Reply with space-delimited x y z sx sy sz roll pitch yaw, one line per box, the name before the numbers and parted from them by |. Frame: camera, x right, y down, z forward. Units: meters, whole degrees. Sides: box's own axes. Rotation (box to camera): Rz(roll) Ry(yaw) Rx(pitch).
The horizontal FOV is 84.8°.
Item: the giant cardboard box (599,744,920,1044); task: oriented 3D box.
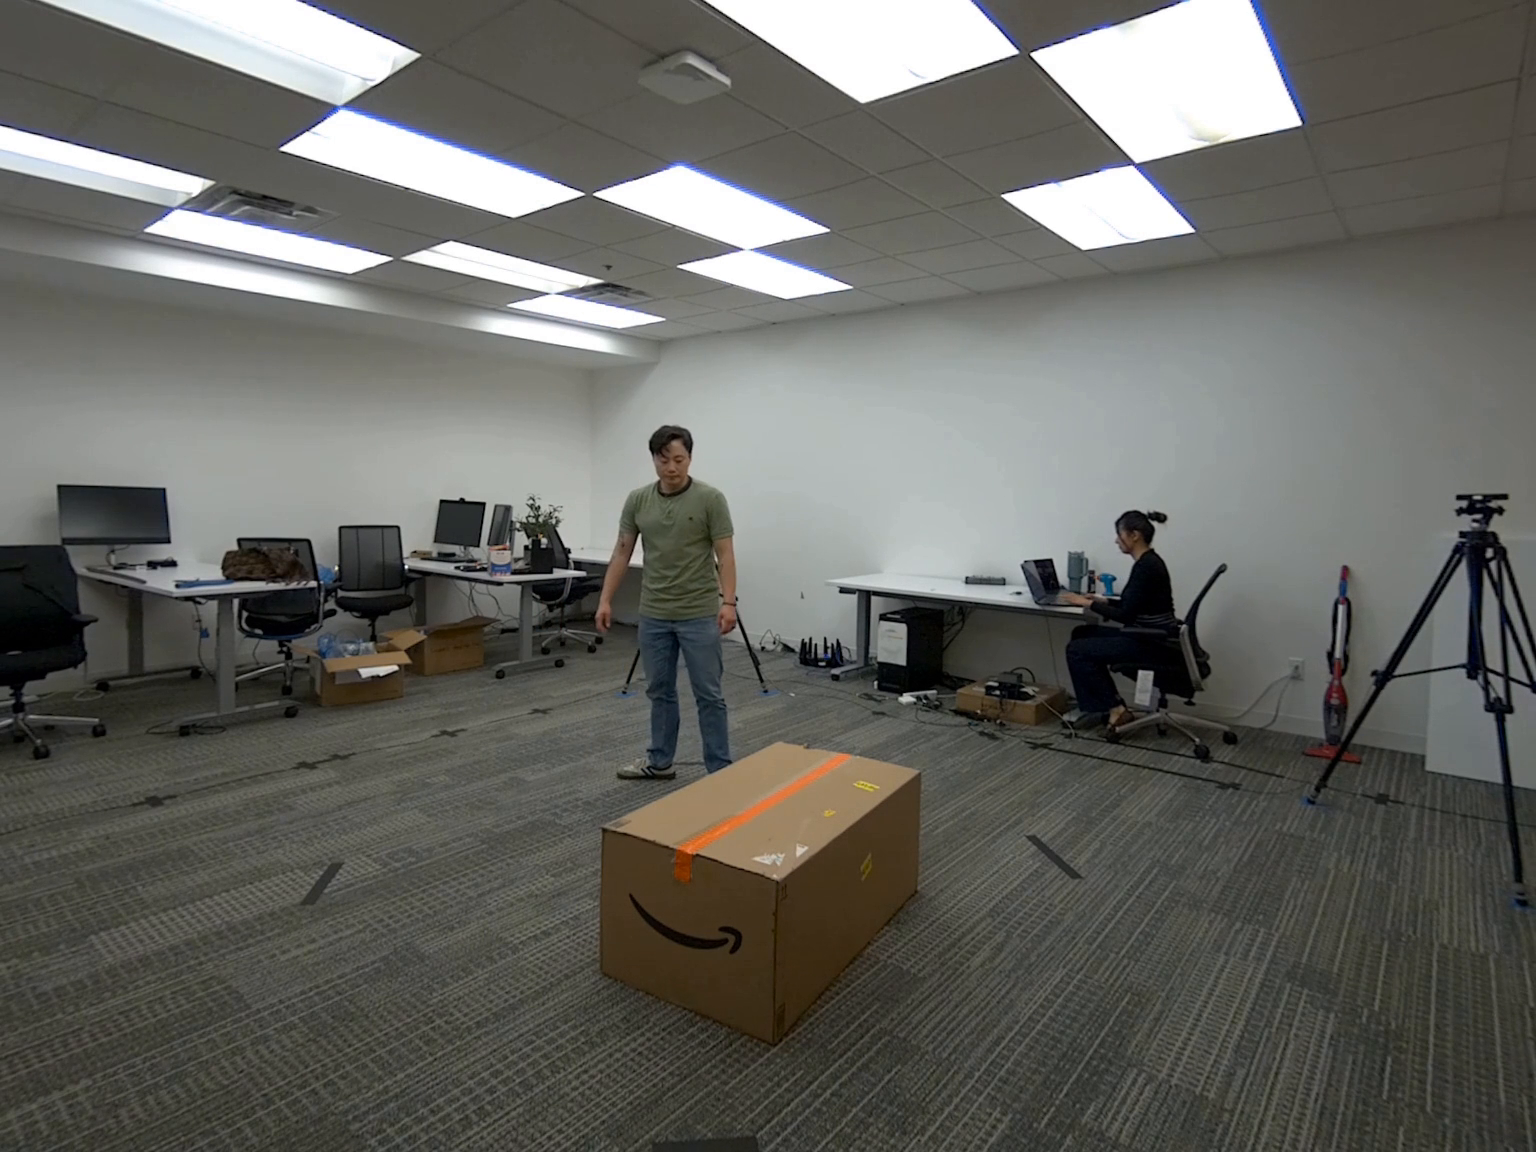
giant cardboard box | 0.019 0.897 2.684 0.595 0.424 0.999 4 6 31
